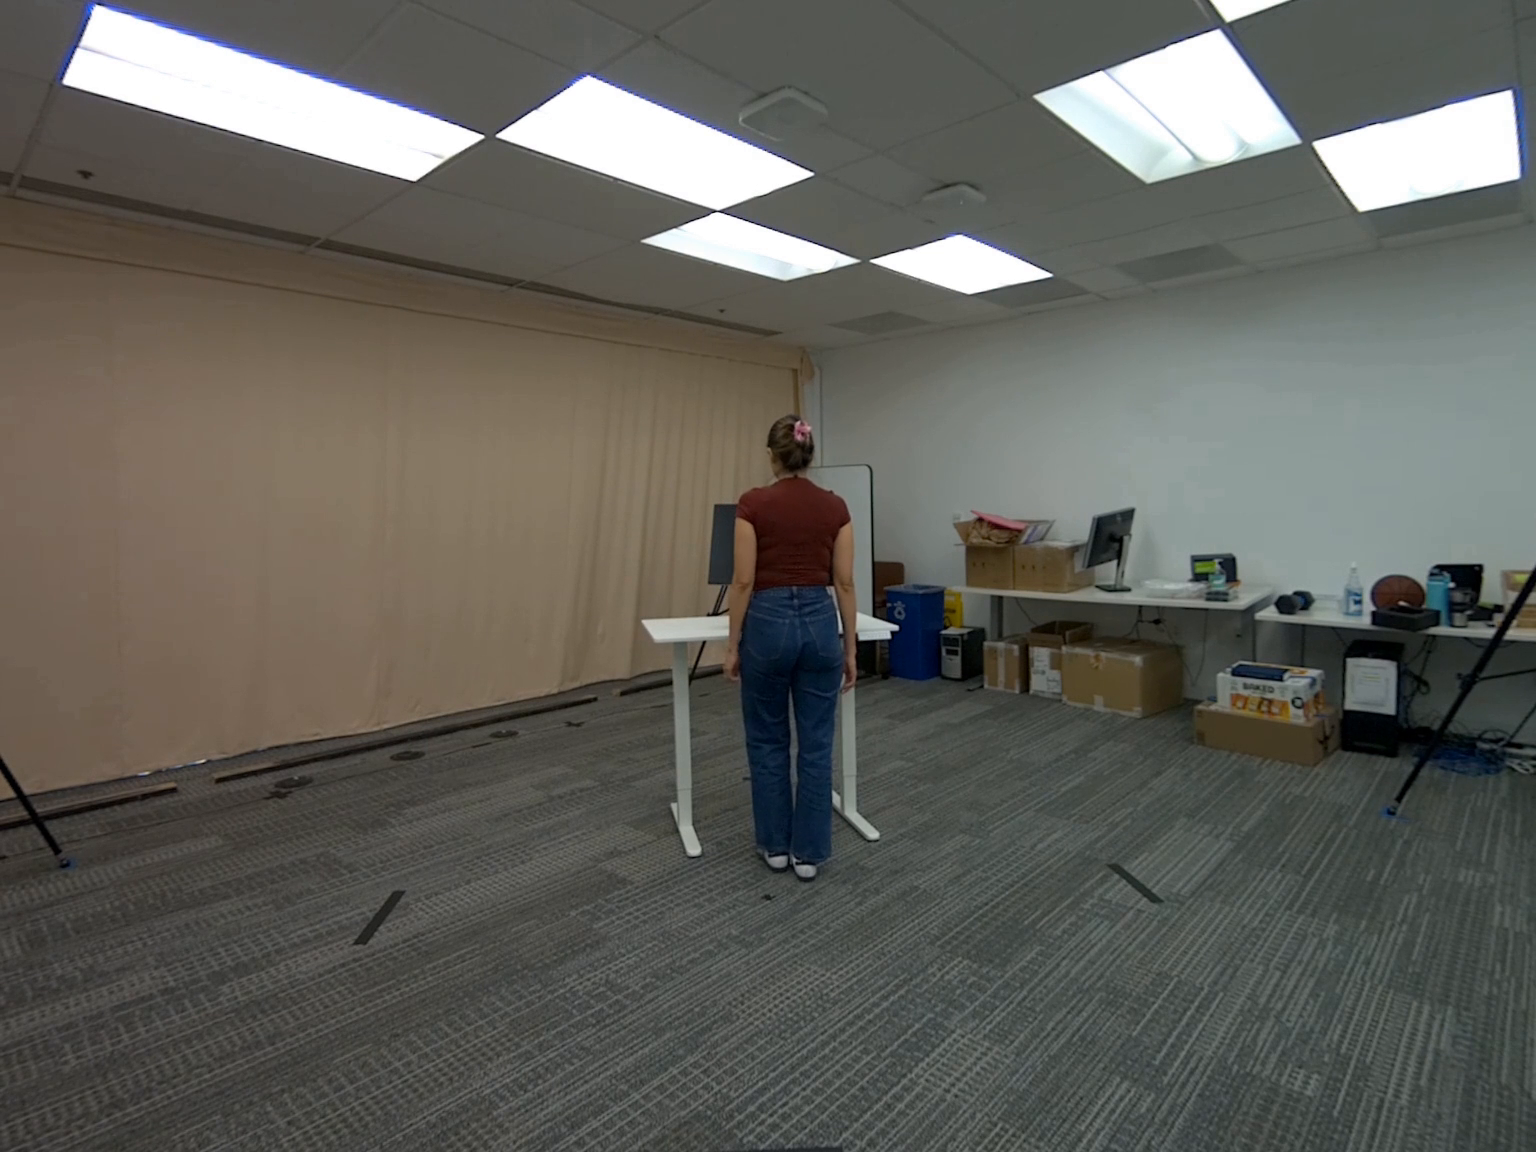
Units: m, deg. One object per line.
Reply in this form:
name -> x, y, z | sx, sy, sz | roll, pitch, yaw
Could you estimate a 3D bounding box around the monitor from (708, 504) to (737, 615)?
monitor -> 0.037, -0.040, 3.507 | 0.547, 0.523, 0.184 | 1, -1, 14
